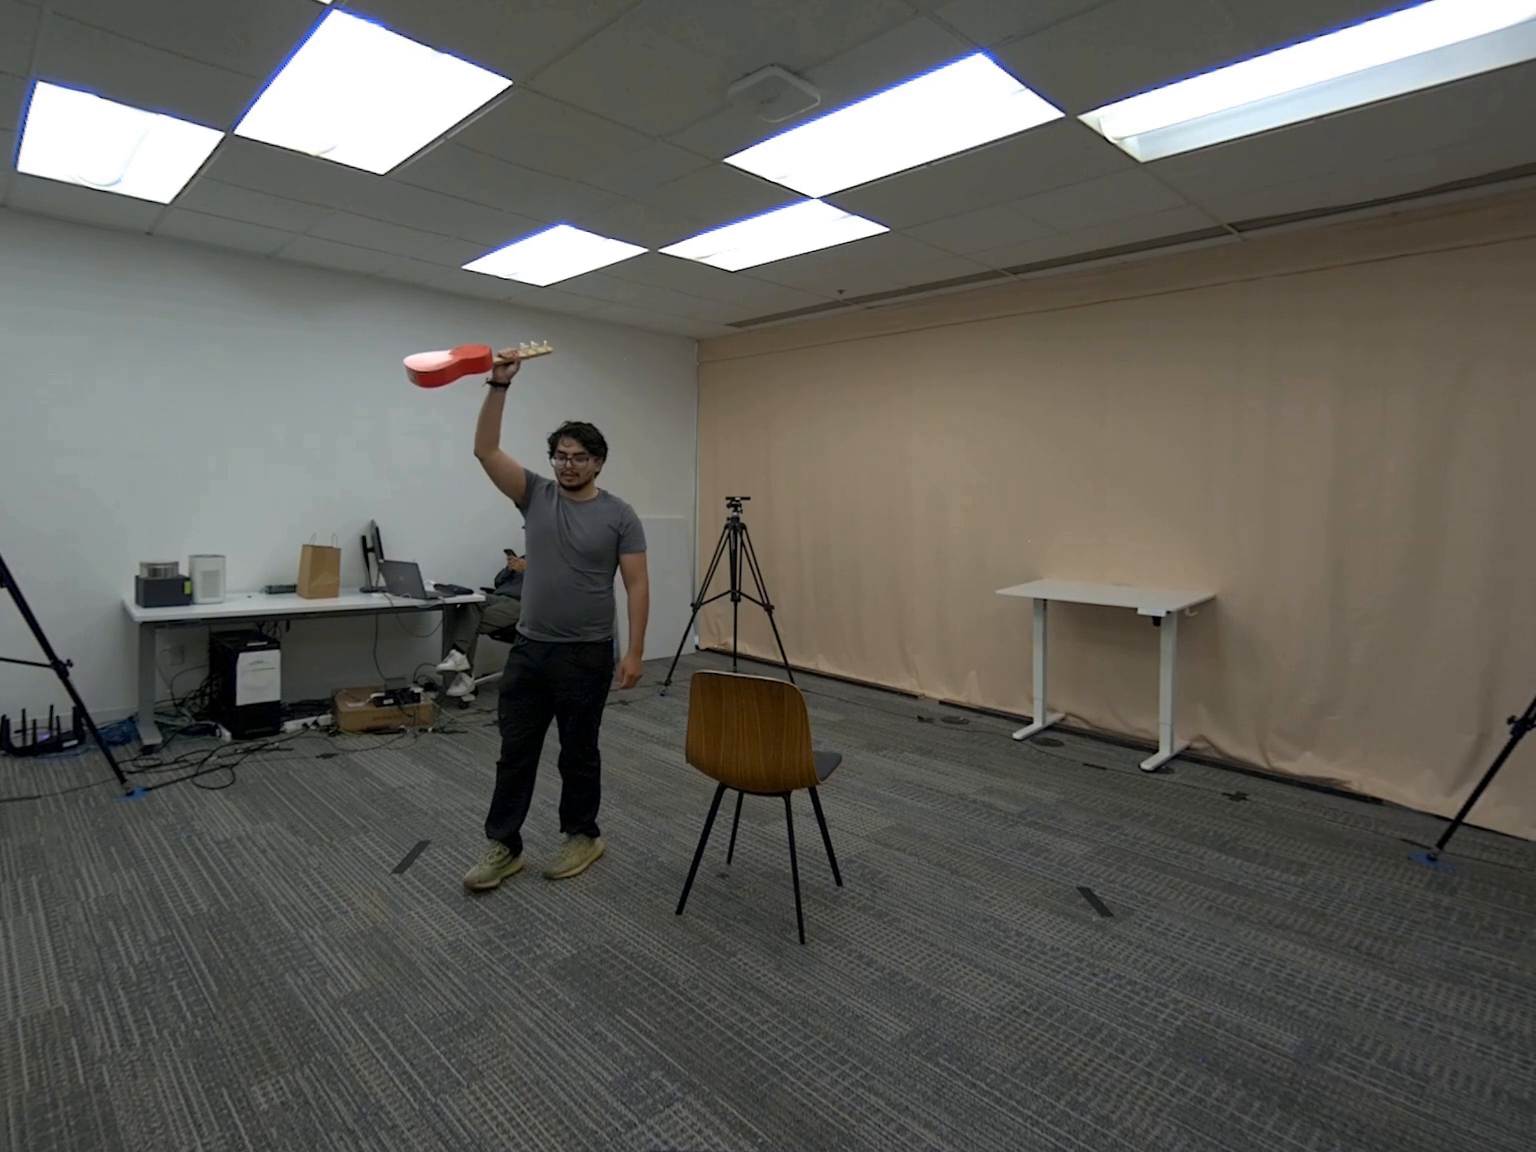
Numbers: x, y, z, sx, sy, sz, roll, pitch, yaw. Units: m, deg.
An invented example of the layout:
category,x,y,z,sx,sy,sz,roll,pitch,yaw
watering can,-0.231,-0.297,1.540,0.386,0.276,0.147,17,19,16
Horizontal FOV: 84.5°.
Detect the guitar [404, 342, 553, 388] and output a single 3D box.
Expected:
category,x,y,z,sx,sy,sz,roll,pitch,yaw
guitar,-0.985,-0.738,2.825,0.198,0.069,0.494,24,41,34
